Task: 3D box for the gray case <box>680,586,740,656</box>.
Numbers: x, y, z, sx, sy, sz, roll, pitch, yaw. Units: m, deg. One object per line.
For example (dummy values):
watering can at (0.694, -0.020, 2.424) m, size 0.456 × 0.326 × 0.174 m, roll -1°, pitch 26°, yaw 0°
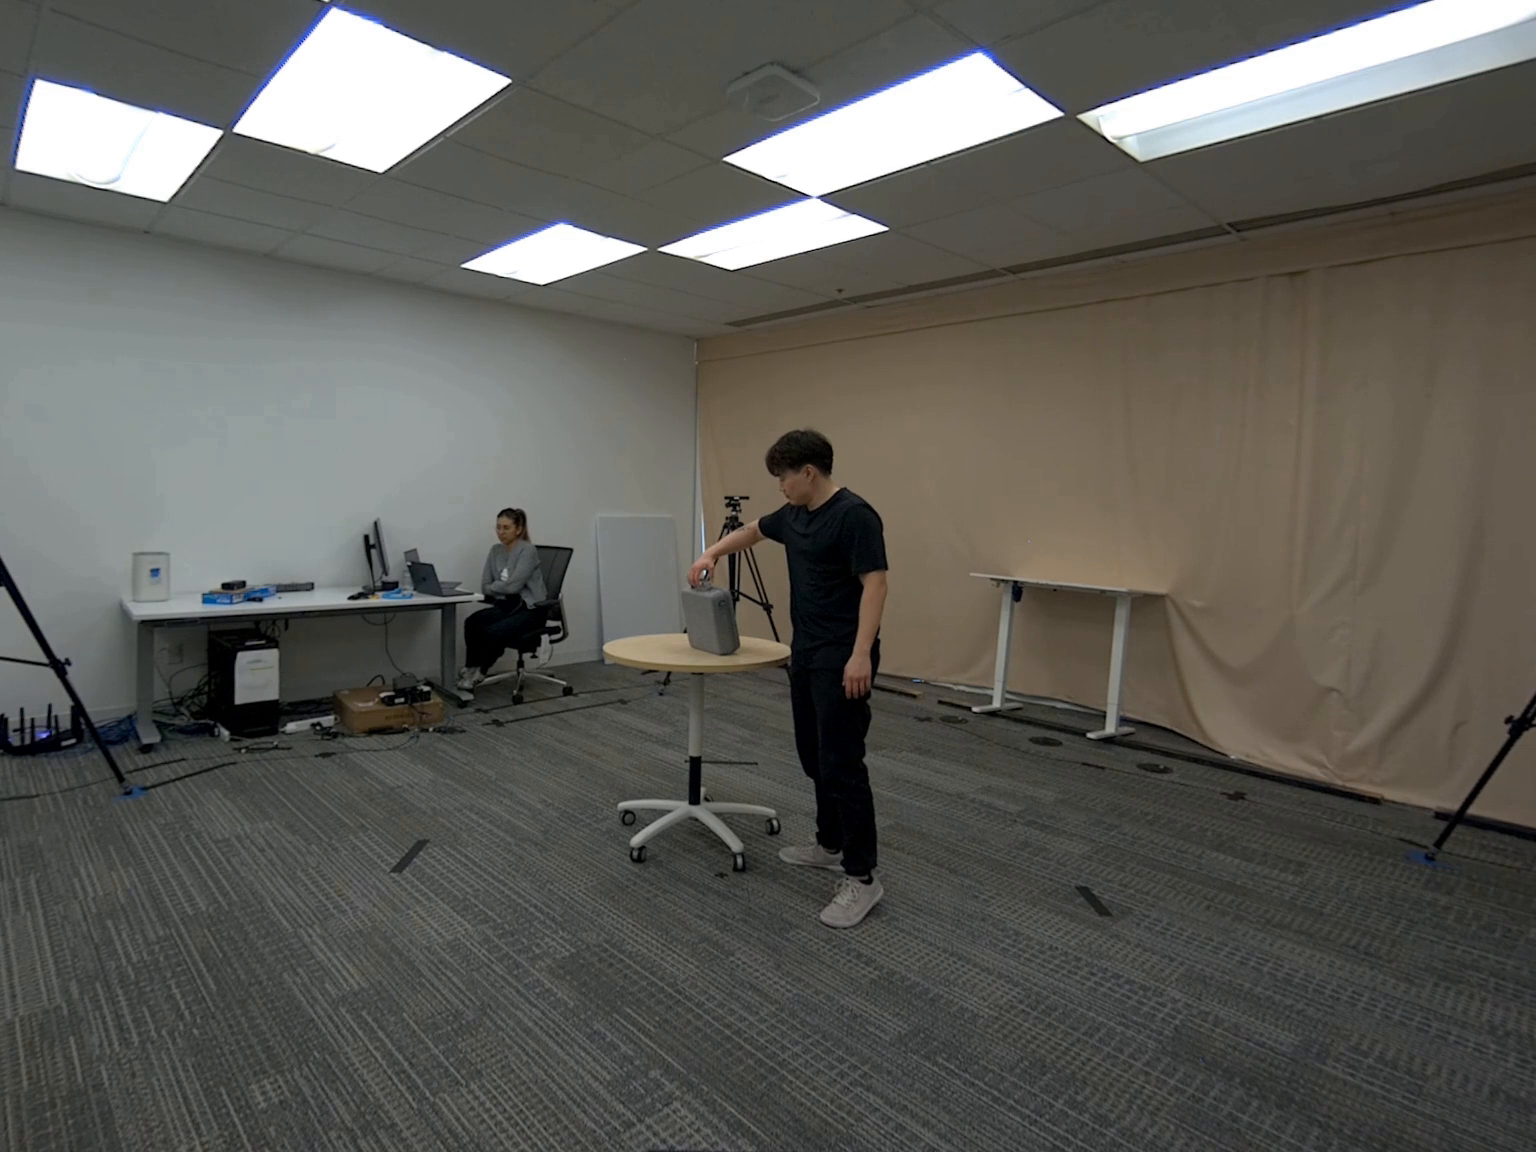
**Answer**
gray case at (-0.233, 0.167, 3.335) m, size 0.103 × 0.259 × 0.263 m, roll -14°, pitch 11°, yaw -32°
